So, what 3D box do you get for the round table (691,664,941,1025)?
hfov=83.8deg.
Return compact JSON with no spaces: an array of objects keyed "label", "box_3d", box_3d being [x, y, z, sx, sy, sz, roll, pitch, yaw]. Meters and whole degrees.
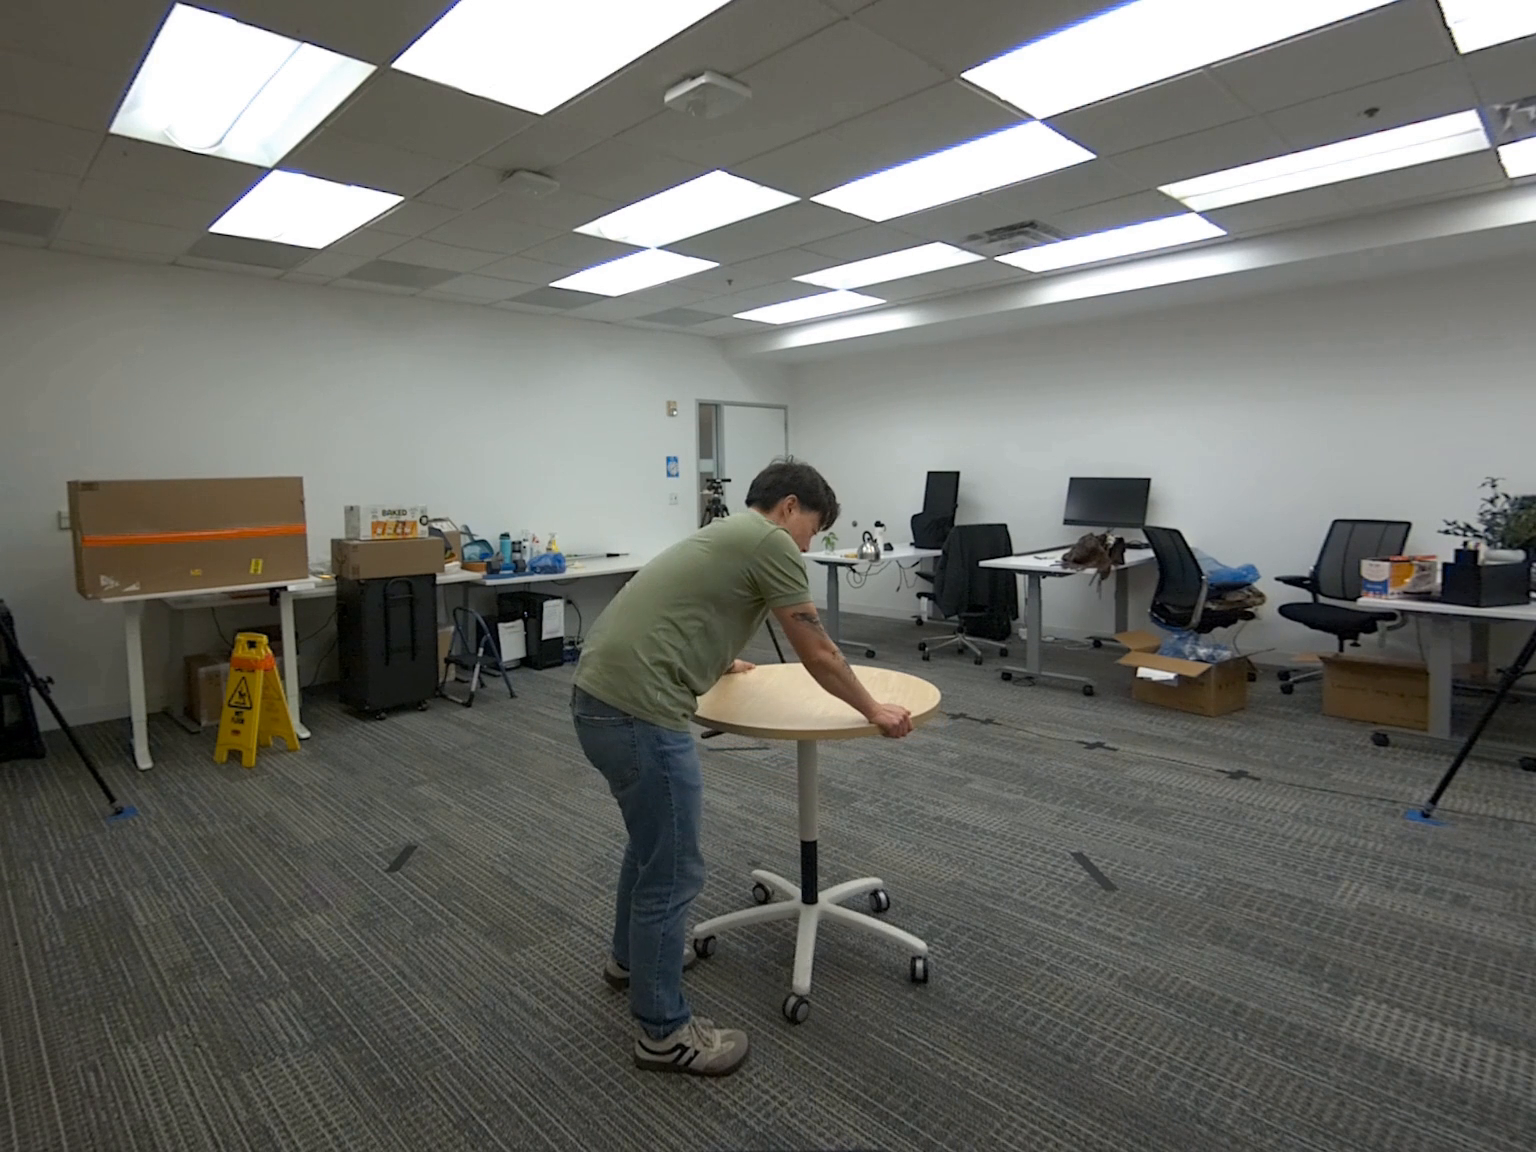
[{"label":"round table","box_3d":[0.130,0.726,2.517,0.763,0.790,0.768,-1,5,-2]}]
